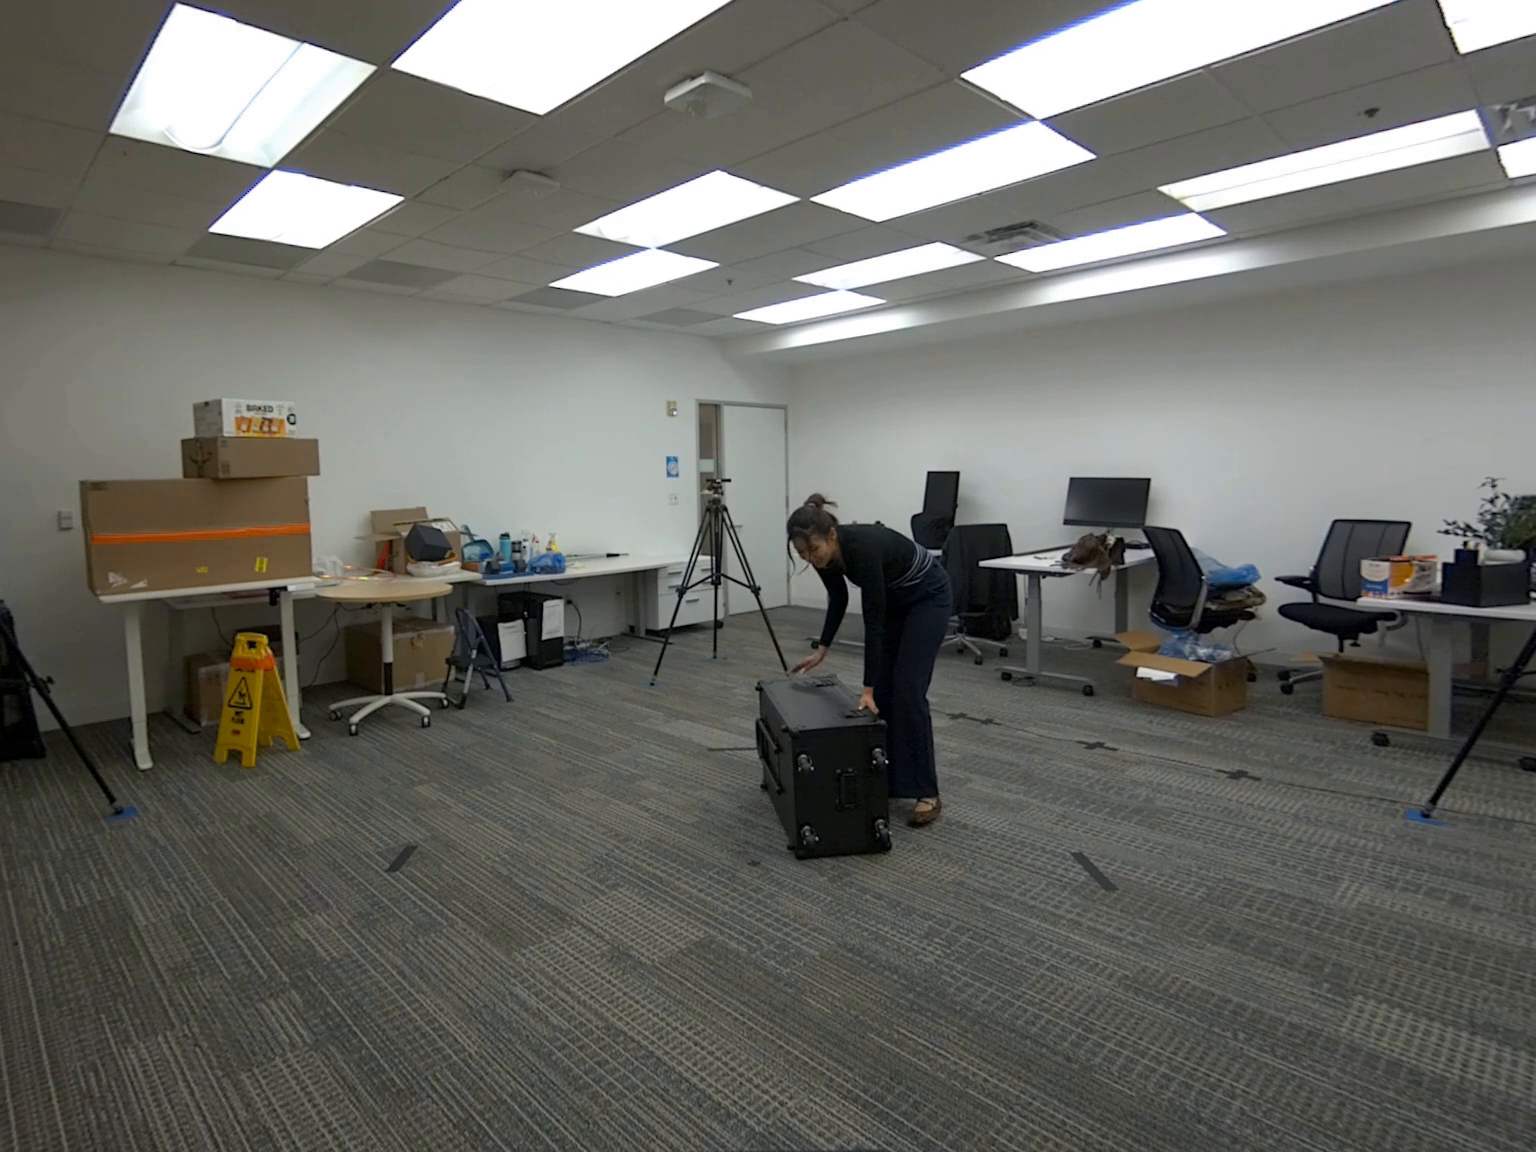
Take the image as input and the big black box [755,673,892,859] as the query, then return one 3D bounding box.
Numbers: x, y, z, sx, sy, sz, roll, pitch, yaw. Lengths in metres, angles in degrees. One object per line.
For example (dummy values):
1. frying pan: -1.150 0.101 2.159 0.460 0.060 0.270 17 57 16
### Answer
1. big black box: 0.193 0.744 3.473 0.393 0.519 0.872 -4 6 -9
